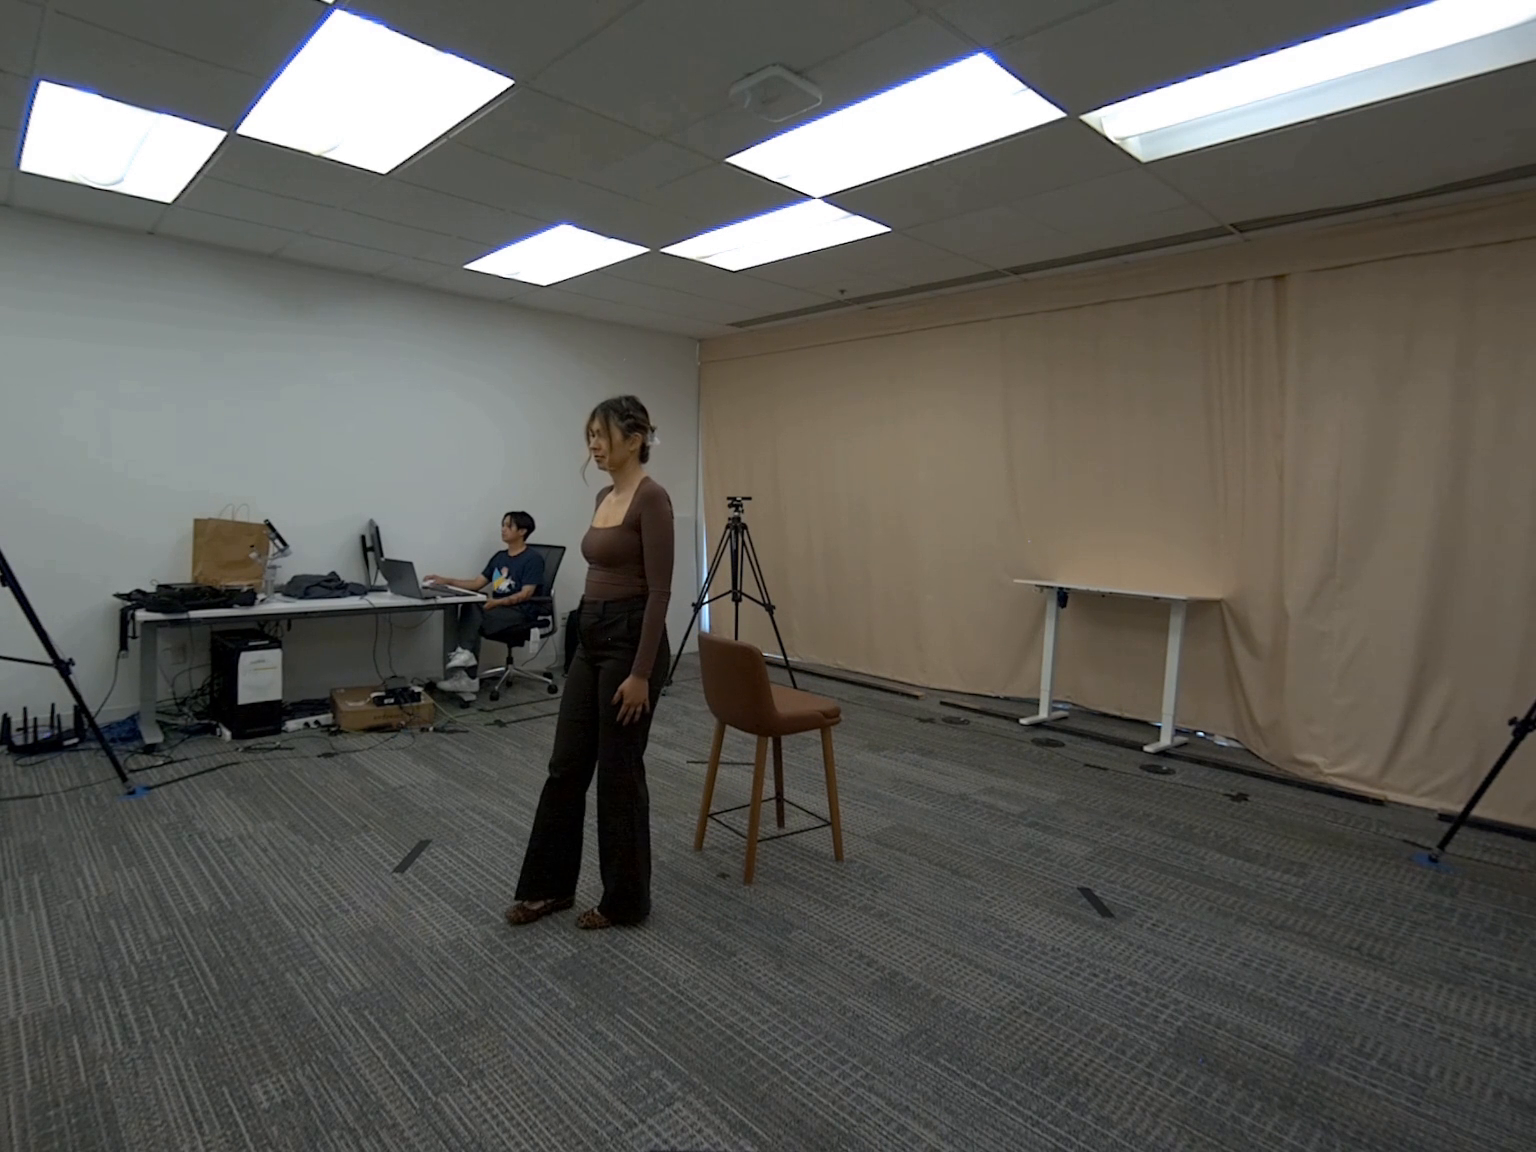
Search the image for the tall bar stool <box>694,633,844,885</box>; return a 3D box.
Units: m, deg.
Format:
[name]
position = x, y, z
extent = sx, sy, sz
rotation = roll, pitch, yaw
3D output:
[tall bar stool]
position = -0.007, 0.656, 3.277
extent = 0.458, 0.887, 0.467
rotation = -3, 5, -35
